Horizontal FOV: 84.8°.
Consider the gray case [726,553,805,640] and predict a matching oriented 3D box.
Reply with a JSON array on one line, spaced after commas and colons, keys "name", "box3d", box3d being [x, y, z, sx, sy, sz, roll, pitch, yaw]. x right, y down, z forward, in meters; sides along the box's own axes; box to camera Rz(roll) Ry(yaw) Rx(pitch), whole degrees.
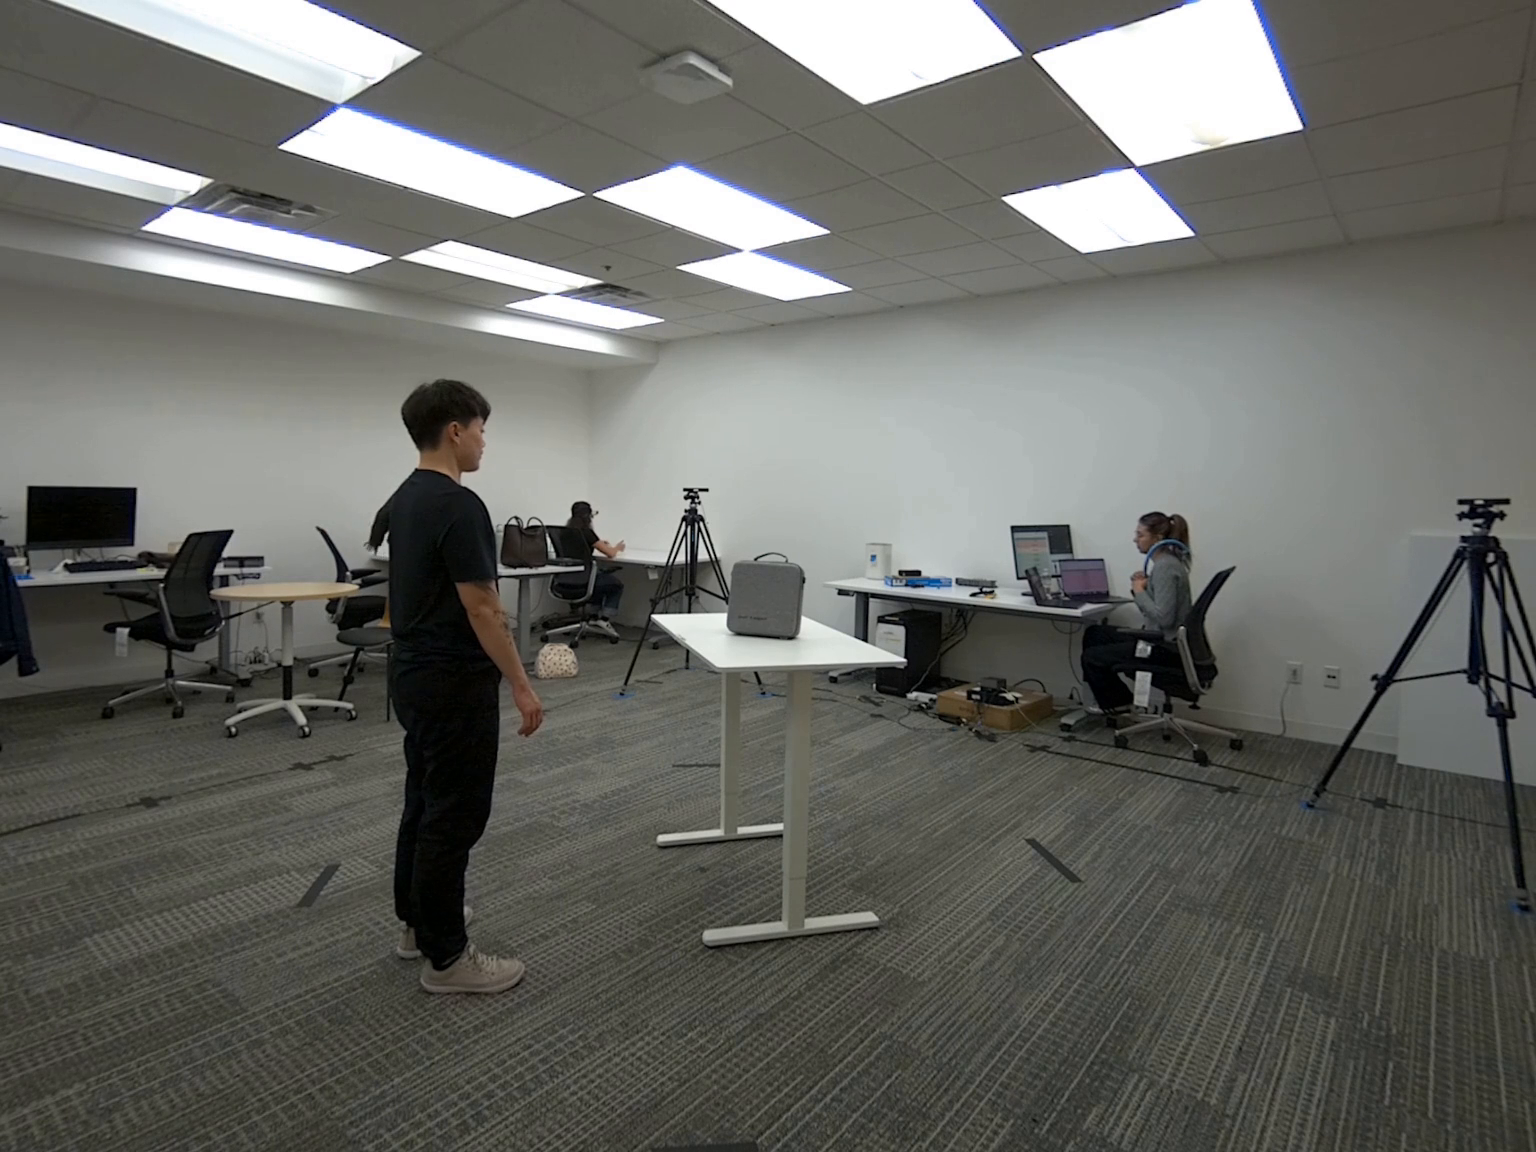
[{"name": "gray case", "box3d": [-0.018, 0.076, 2.968, 0.262, 0.262, 0.101, 4, -7, 19]}]
